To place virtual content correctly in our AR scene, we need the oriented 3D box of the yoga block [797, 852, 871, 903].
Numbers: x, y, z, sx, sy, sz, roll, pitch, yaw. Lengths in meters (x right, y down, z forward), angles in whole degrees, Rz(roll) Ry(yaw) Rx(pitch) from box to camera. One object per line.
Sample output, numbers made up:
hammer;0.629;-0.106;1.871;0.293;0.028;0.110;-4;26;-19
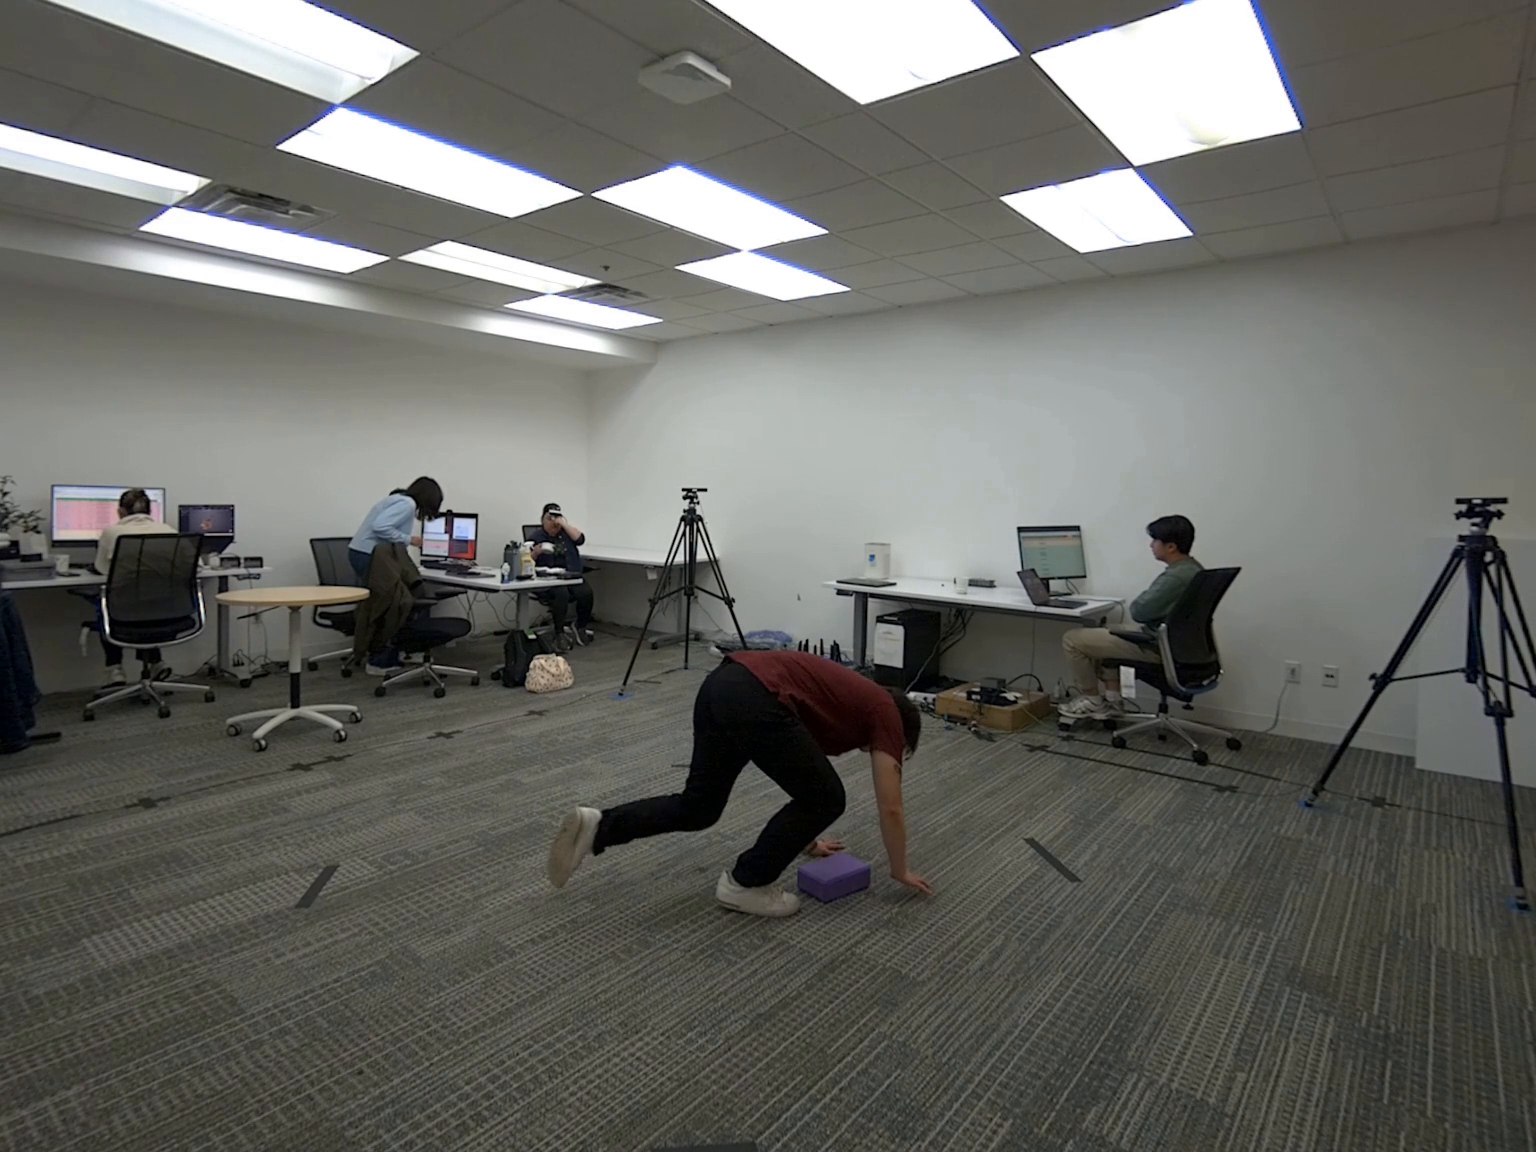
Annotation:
yoga block;0.225;1.049;2.976;0.222;0.076;0.154;-1;5;-41
